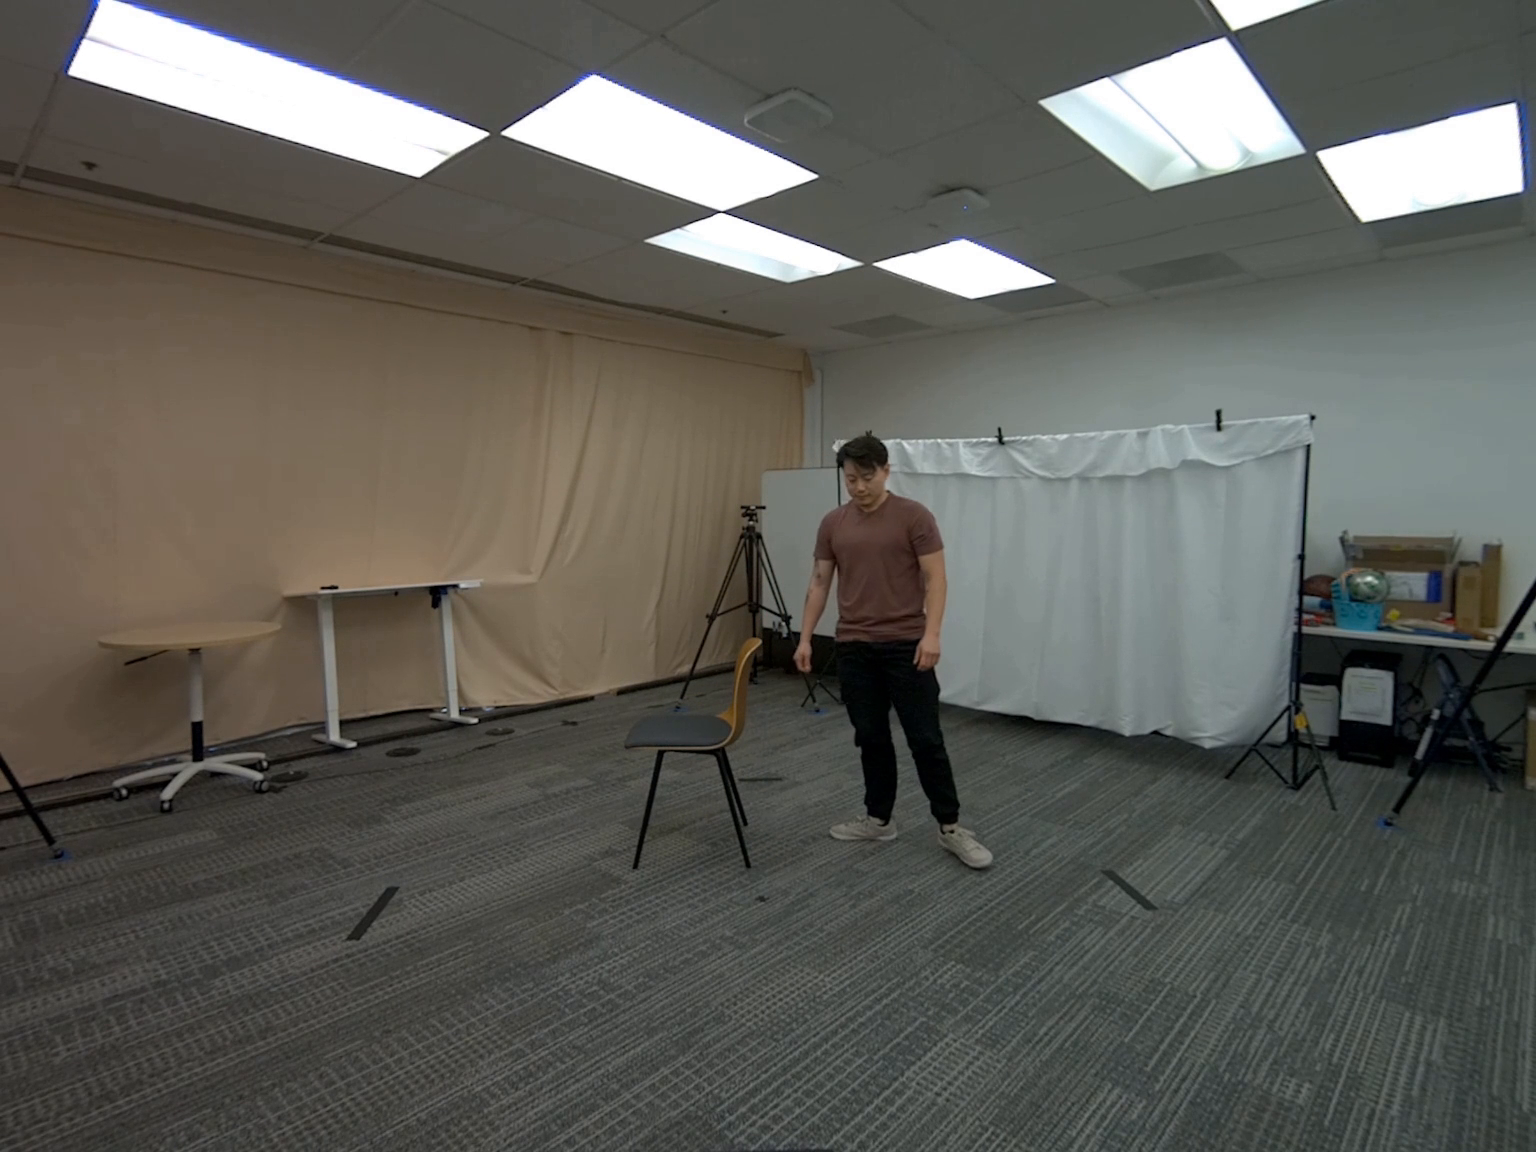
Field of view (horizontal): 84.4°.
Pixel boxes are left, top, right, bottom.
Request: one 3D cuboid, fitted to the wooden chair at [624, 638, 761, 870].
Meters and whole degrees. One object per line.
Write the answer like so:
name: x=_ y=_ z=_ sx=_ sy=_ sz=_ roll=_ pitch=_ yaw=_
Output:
wooden chair: x=-0.310 y=0.681 z=3.419 sx=0.523 sy=0.875 sz=0.479 roll=4 pitch=4 yaw=-1
